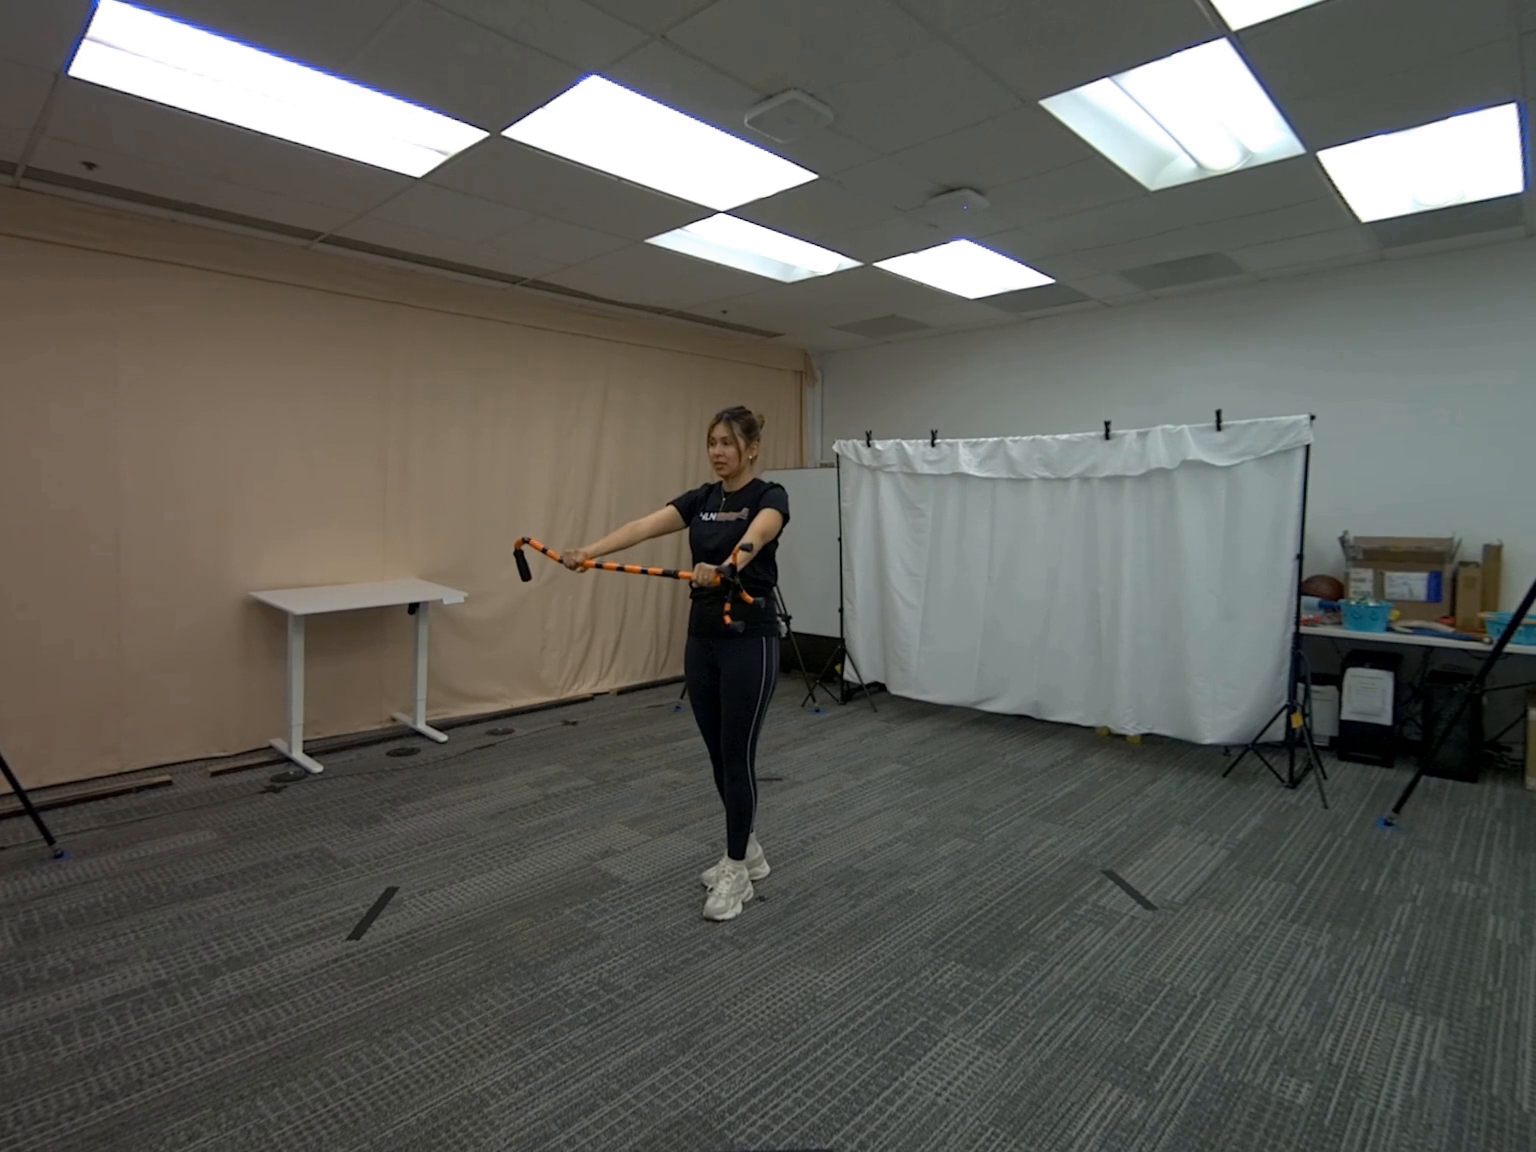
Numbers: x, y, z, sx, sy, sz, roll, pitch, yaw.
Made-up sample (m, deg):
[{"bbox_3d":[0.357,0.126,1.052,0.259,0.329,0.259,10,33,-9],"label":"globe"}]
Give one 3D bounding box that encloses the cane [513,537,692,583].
[{"bbox_3d":[-0.447,-0.028,2.551,0.937,0.202,0.150,7,31,34],"label":"cane"}]
